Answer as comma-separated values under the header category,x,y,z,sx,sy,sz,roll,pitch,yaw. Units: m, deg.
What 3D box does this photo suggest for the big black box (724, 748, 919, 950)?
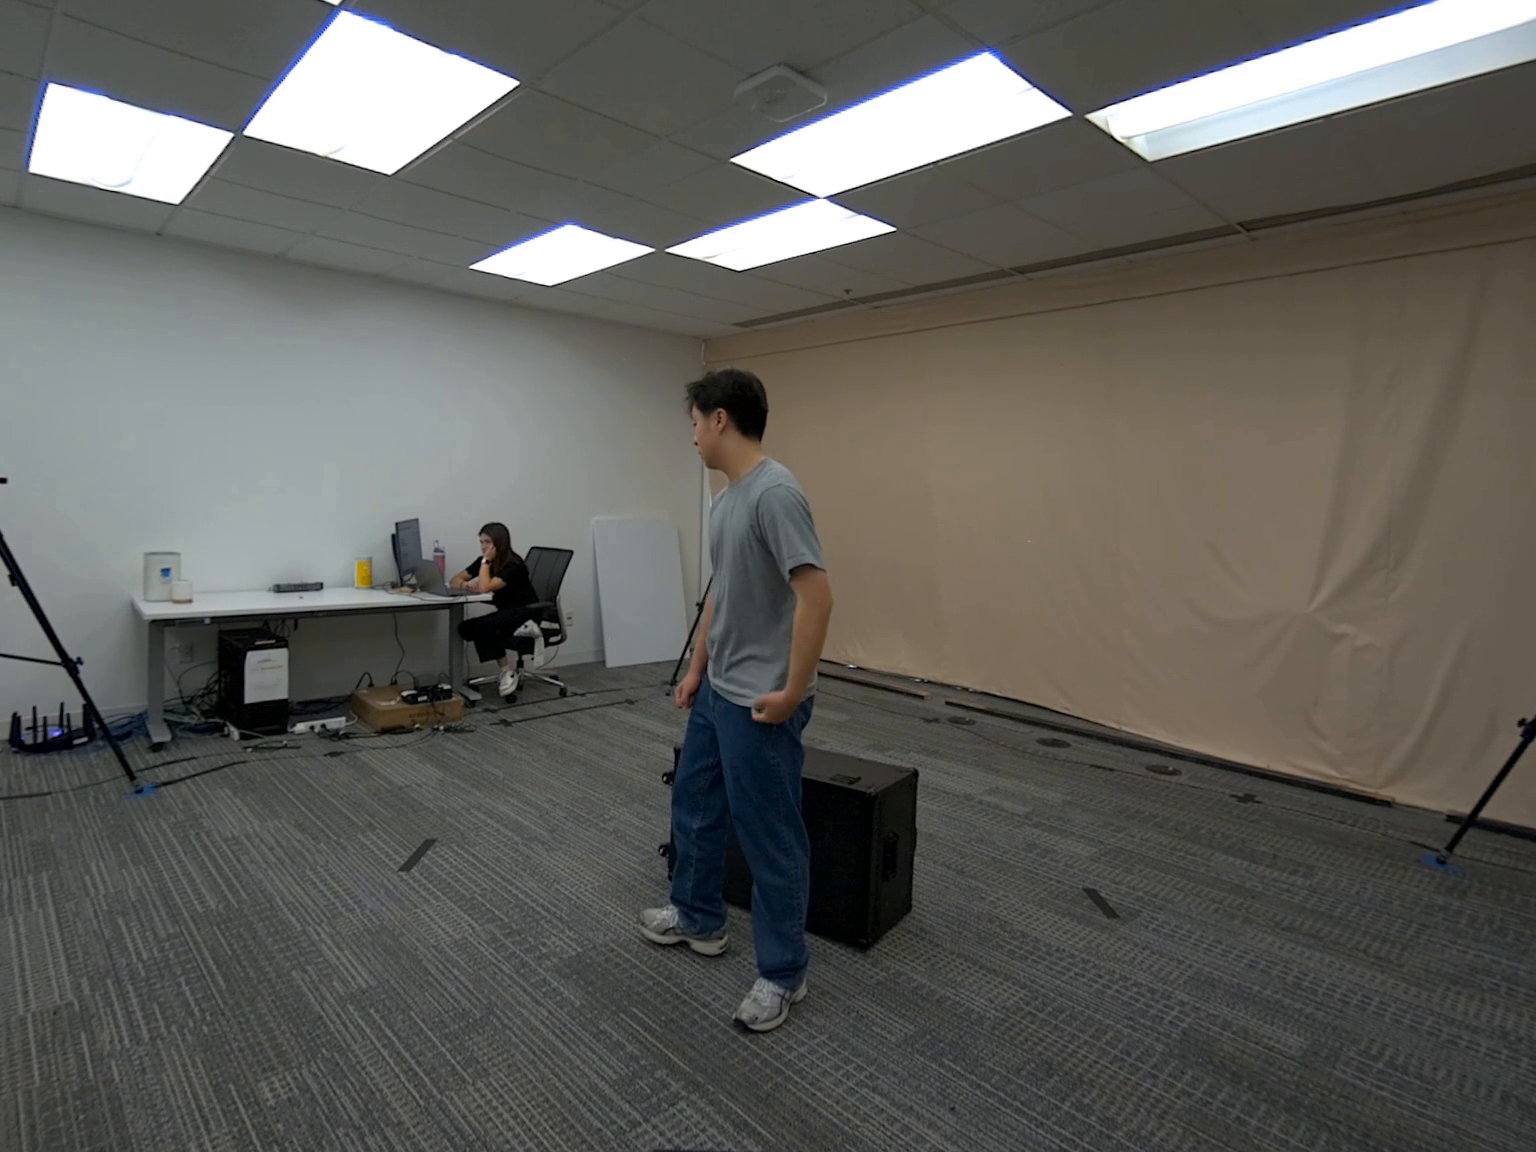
category,x,y,z,sx,sy,sz,roll,pitch,yaw
big black box,0.055,0.867,2.966,0.881,0.521,0.387,4,2,33
